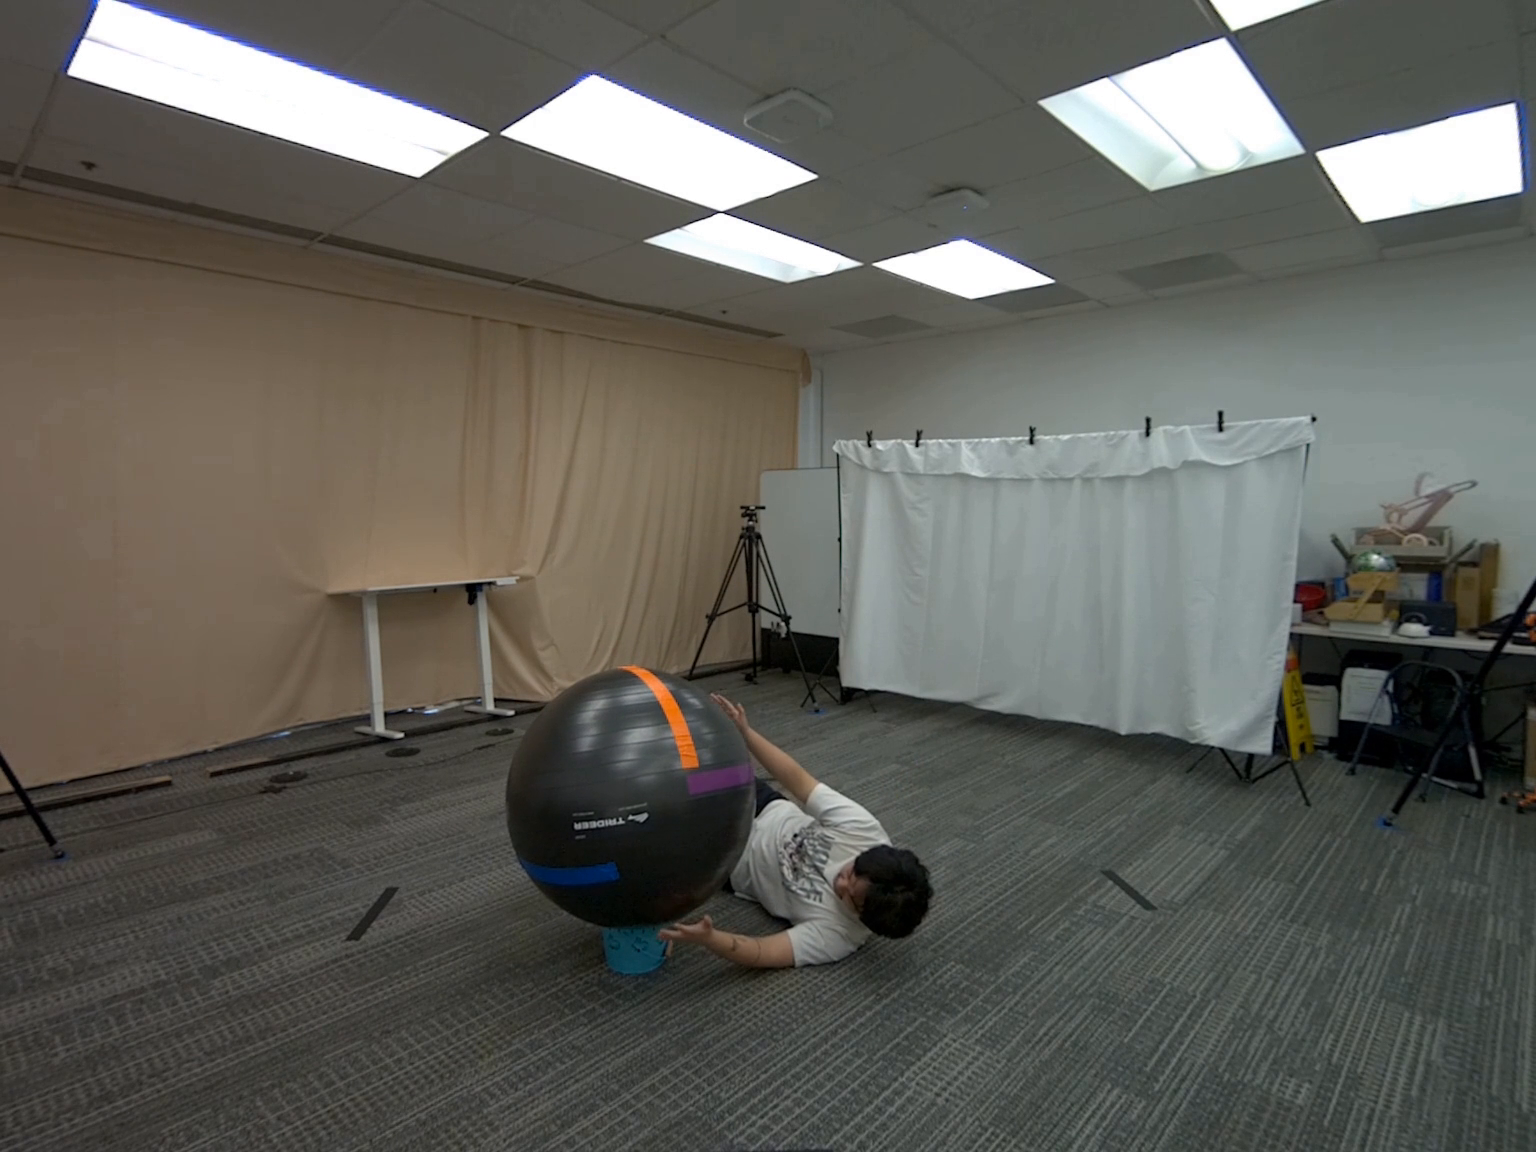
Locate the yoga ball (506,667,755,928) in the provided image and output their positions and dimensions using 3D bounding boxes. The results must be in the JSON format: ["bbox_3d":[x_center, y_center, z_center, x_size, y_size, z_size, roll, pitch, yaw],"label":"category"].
[{"bbox_3d":[-0.430,0.670,2.574,0.757,0.756,0.761,0,4,-2],"label":"yoga ball"}]
